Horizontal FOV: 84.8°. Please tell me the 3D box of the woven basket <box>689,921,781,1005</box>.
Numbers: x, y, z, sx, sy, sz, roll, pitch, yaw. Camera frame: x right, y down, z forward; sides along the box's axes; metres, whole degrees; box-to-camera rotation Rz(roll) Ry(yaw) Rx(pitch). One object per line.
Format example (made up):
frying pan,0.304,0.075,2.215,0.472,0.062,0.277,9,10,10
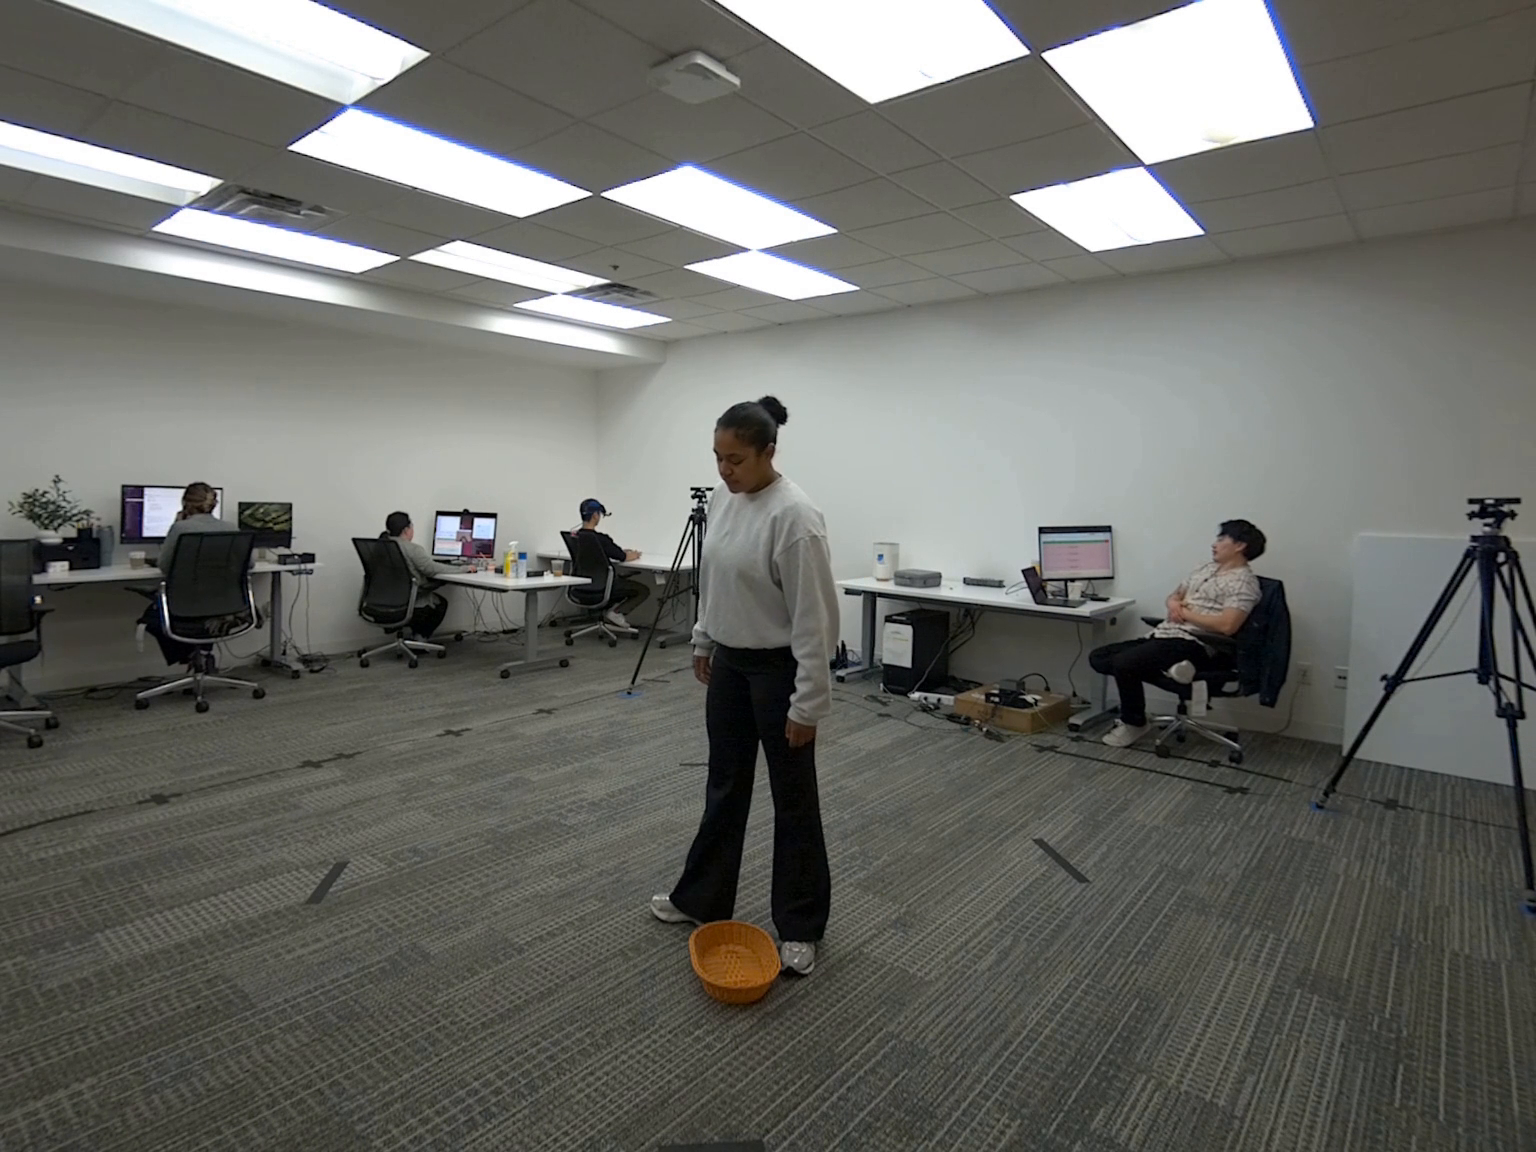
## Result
woven basket,-0.098,1.096,2.429,0.251,0.073,0.354,0,6,-7
